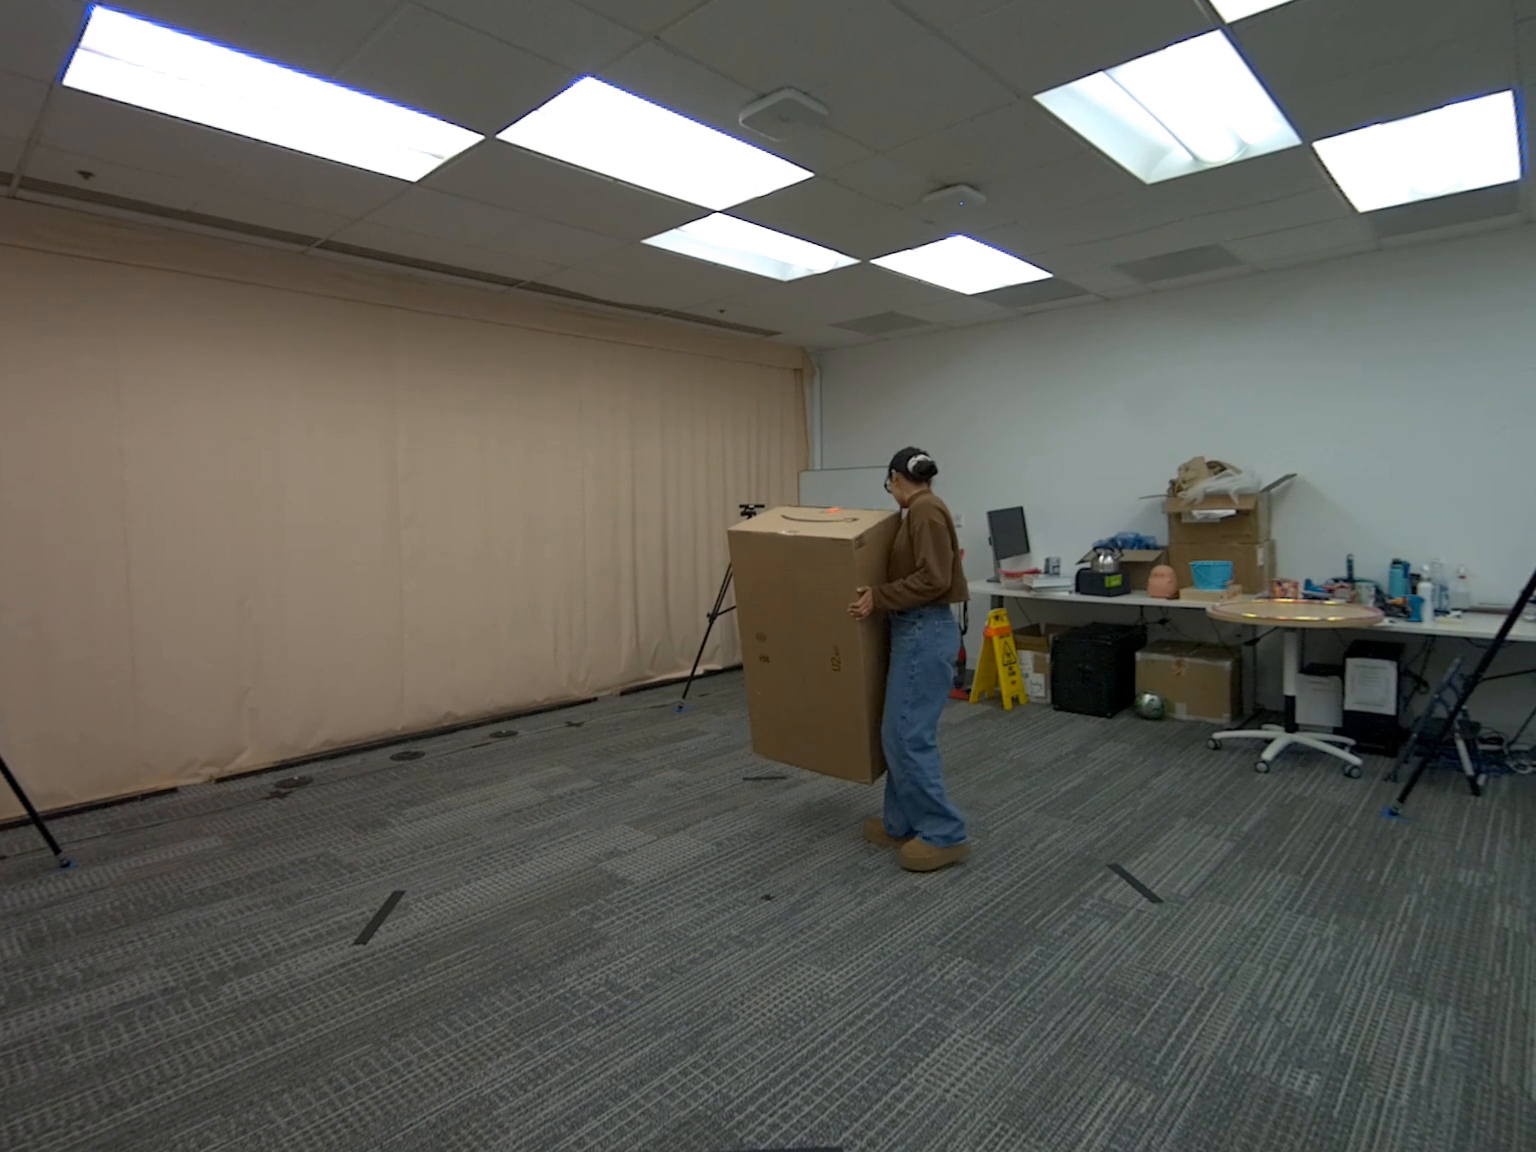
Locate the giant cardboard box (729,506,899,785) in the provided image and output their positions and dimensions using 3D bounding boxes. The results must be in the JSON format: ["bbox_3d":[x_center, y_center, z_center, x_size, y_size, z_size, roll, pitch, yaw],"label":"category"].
[{"bbox_3d":[0.238,0.263,3.538,0.596,1.014,0.417,5,19,35],"label":"giant cardboard box"}]
